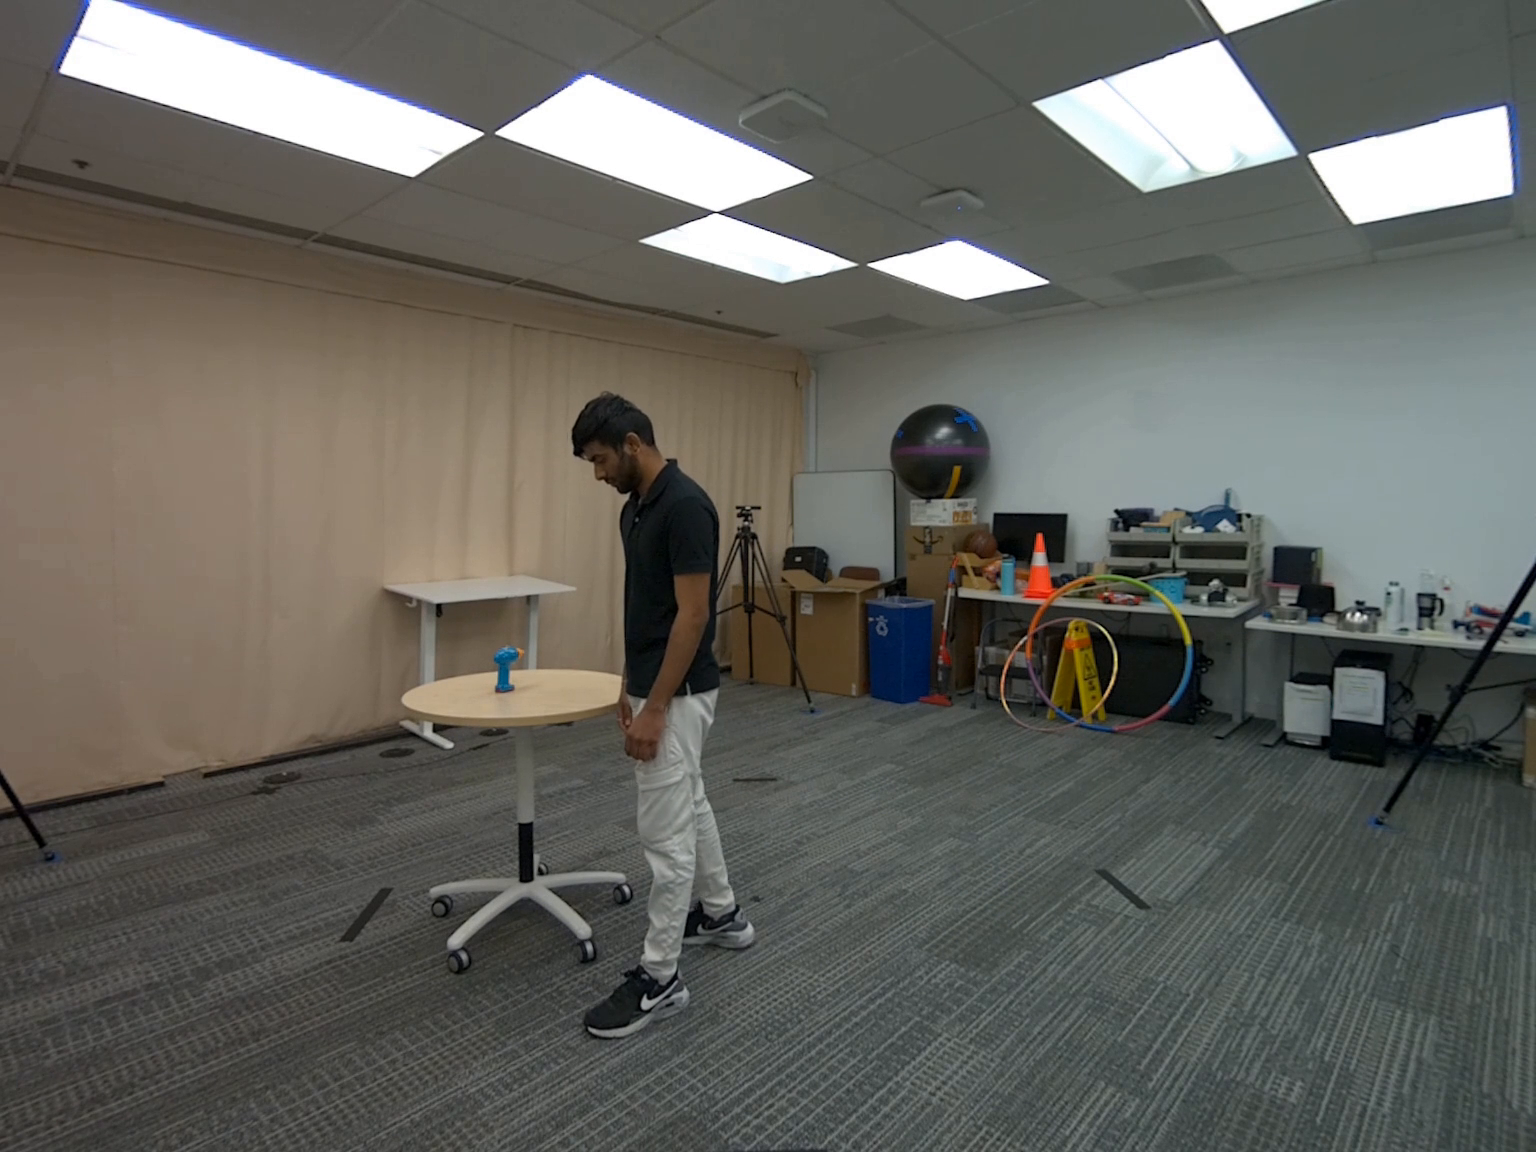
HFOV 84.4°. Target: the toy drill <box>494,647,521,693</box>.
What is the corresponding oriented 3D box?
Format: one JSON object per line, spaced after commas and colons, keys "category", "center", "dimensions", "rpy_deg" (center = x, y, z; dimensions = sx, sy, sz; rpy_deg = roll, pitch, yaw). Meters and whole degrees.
{"category": "toy drill", "center": [-0.873, 0.308, 2.827], "dimensions": [0.062, 0.146, 0.169], "rpy_deg": [-1, 4, 6]}
